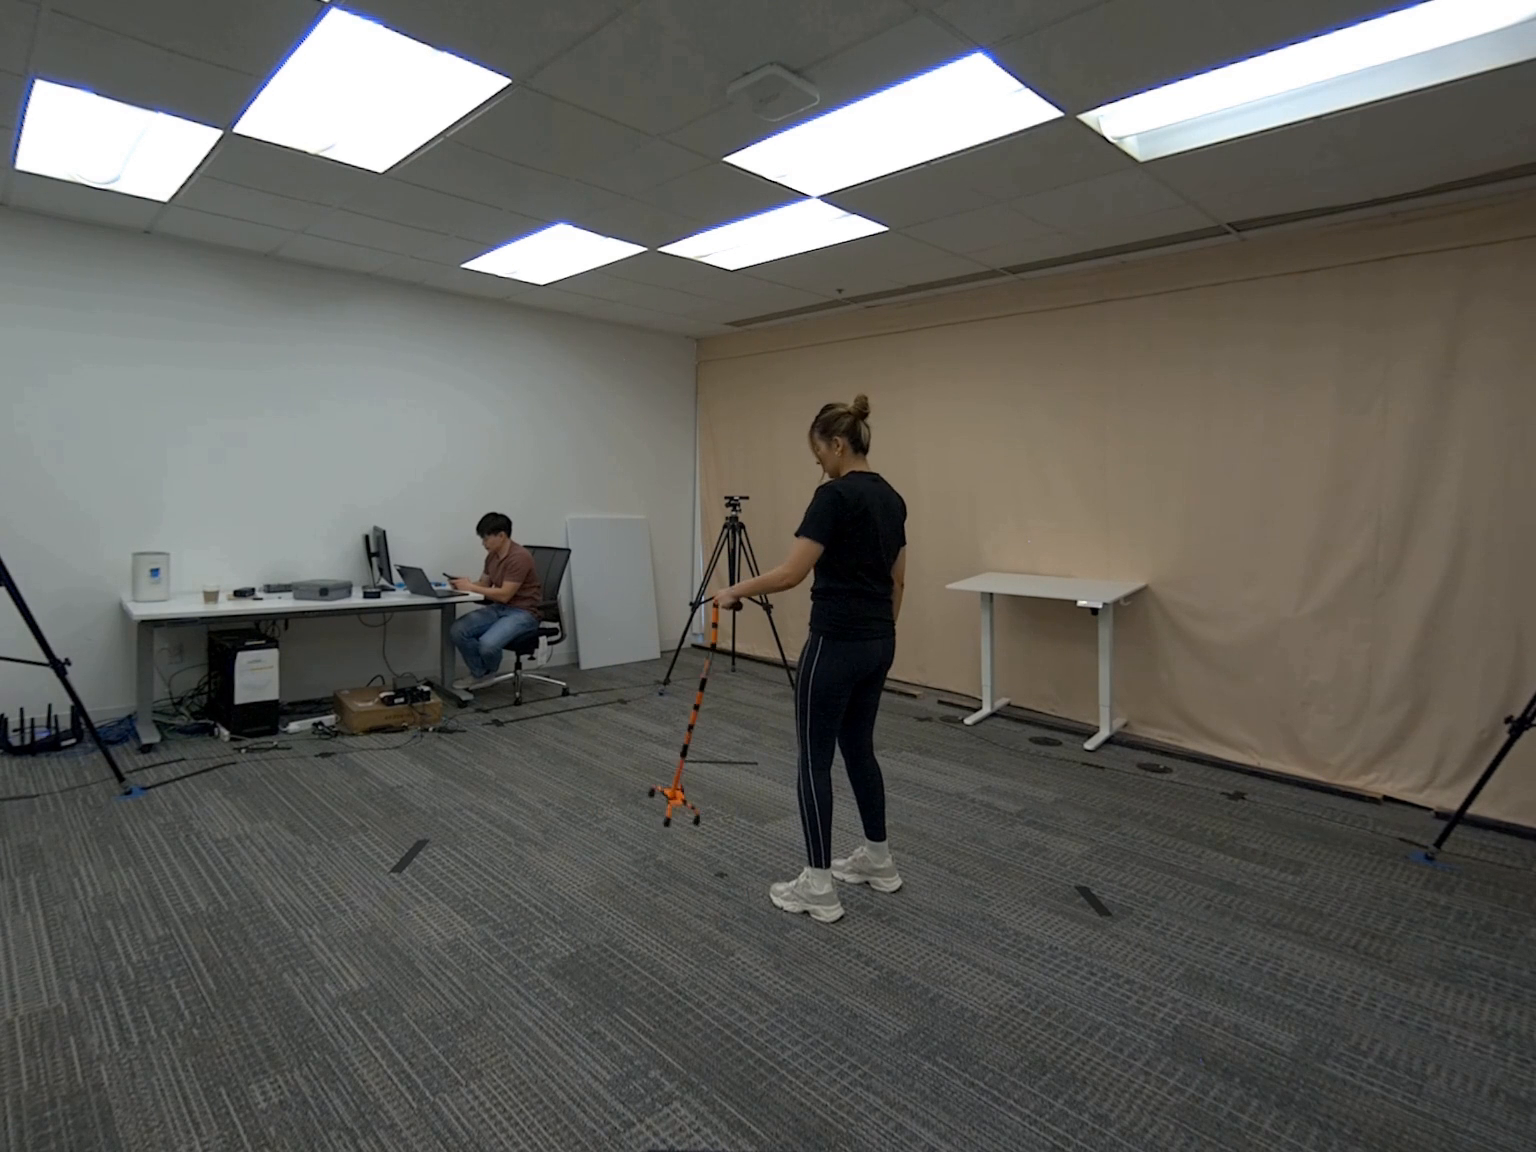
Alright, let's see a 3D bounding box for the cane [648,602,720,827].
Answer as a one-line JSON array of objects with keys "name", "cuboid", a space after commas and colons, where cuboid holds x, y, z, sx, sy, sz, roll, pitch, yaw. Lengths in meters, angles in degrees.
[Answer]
[{"name": "cane", "cuboid": [-0.255, 0.472, 3.075, 0.148, 0.900, 0.212, 5, 19, -26]}]
